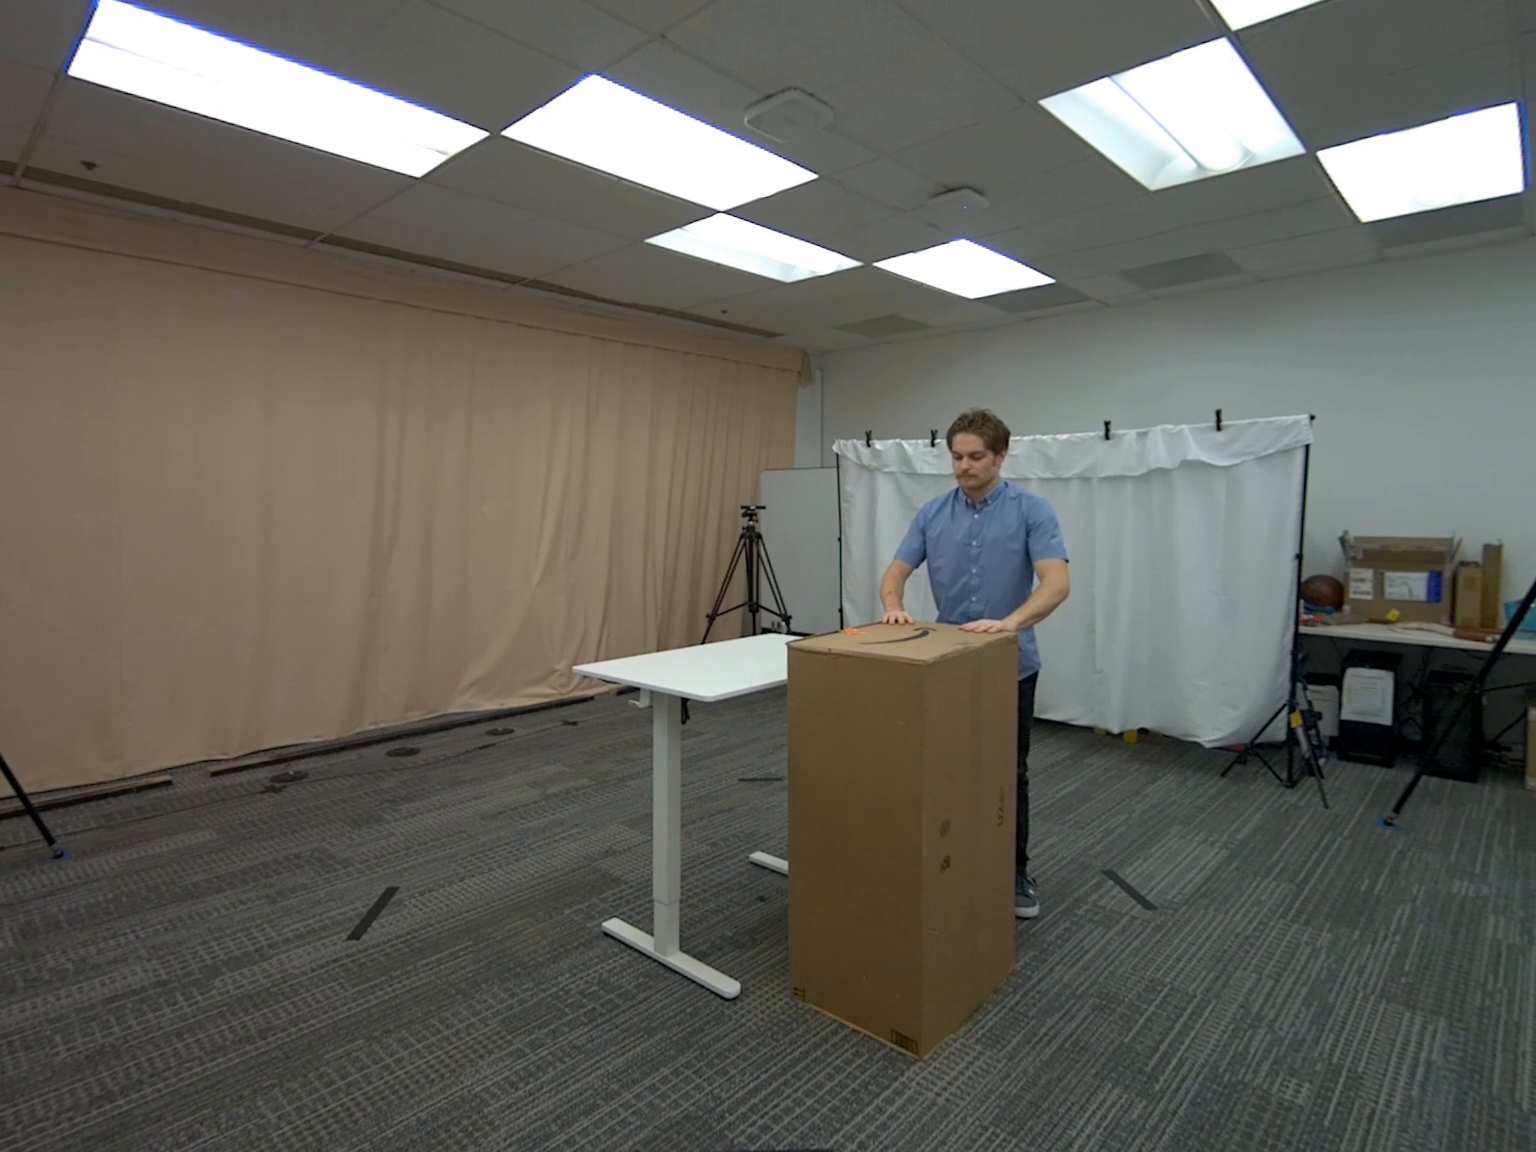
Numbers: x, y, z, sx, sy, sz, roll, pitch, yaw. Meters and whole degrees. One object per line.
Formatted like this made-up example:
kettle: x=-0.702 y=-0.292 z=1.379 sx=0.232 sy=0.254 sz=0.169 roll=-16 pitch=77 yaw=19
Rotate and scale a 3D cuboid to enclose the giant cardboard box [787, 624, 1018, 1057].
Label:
giant cardboard box: x=0.395 y=0.681 z=2.423 sx=0.440 sy=1.023 sz=0.560 roll=3 pitch=5 yaw=41
